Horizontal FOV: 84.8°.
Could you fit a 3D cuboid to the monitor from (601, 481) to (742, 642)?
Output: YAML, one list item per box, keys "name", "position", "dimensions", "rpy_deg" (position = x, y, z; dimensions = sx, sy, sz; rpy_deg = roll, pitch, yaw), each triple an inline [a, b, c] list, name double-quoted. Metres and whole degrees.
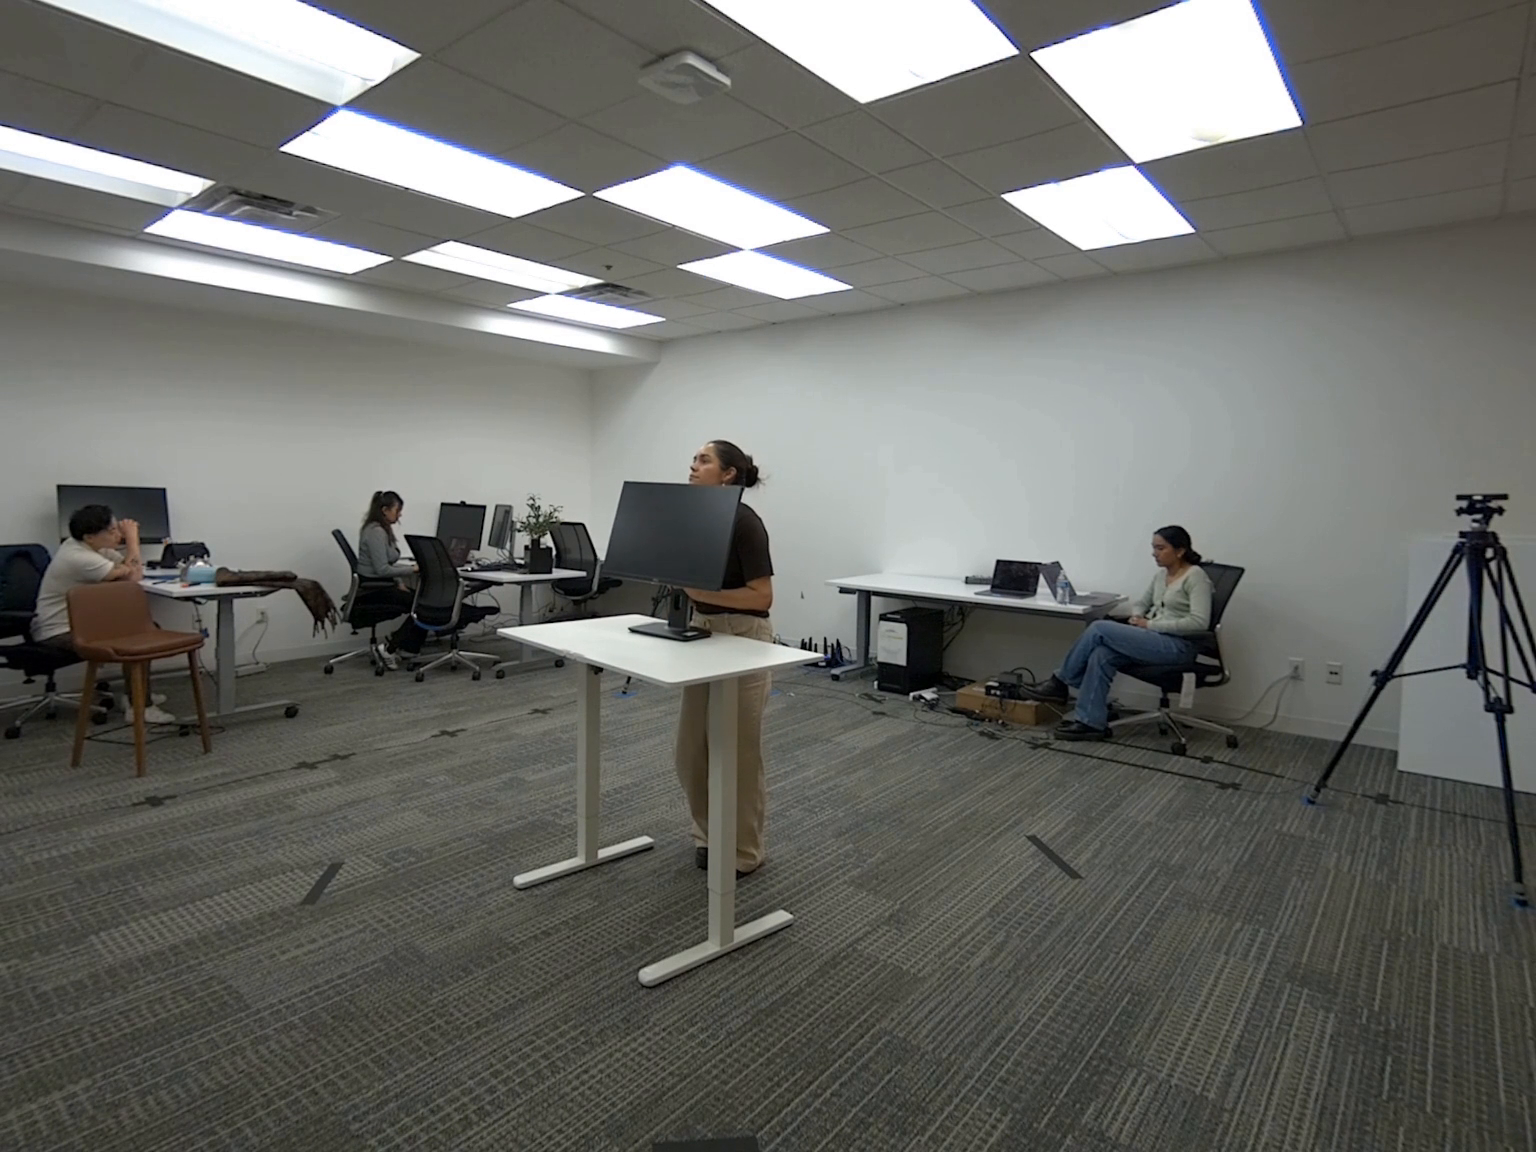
- name: "monitor"
  position: [-0.332, -0.061, 2.923]
  dimensions: [0.556, 0.521, 0.182]
  rpy_deg: [6, 4, 33]
